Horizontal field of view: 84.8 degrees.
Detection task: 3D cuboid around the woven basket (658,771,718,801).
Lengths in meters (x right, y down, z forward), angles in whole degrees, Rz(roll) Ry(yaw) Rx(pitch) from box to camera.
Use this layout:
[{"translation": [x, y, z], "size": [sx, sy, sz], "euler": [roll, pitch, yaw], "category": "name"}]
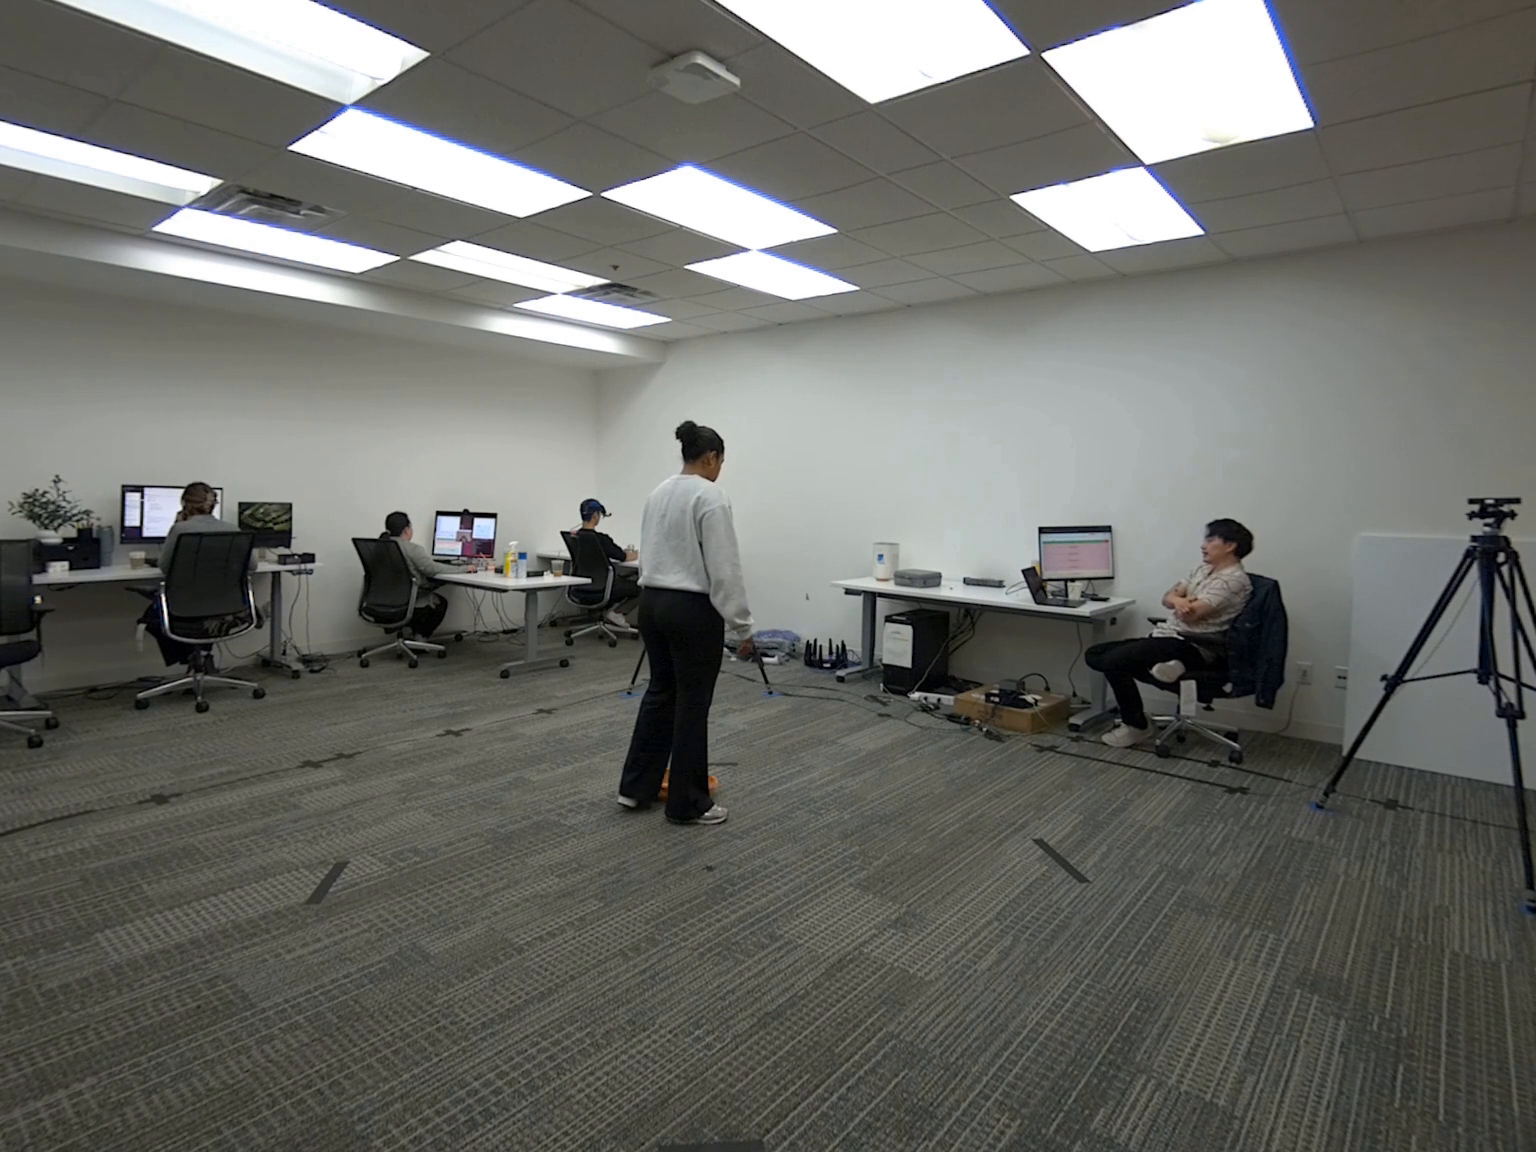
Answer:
[{"translation": [-0.404, 0.940, 3.849], "size": [0.353, 0.073, 0.251], "euler": [3, 4, 7], "category": "woven basket"}]
